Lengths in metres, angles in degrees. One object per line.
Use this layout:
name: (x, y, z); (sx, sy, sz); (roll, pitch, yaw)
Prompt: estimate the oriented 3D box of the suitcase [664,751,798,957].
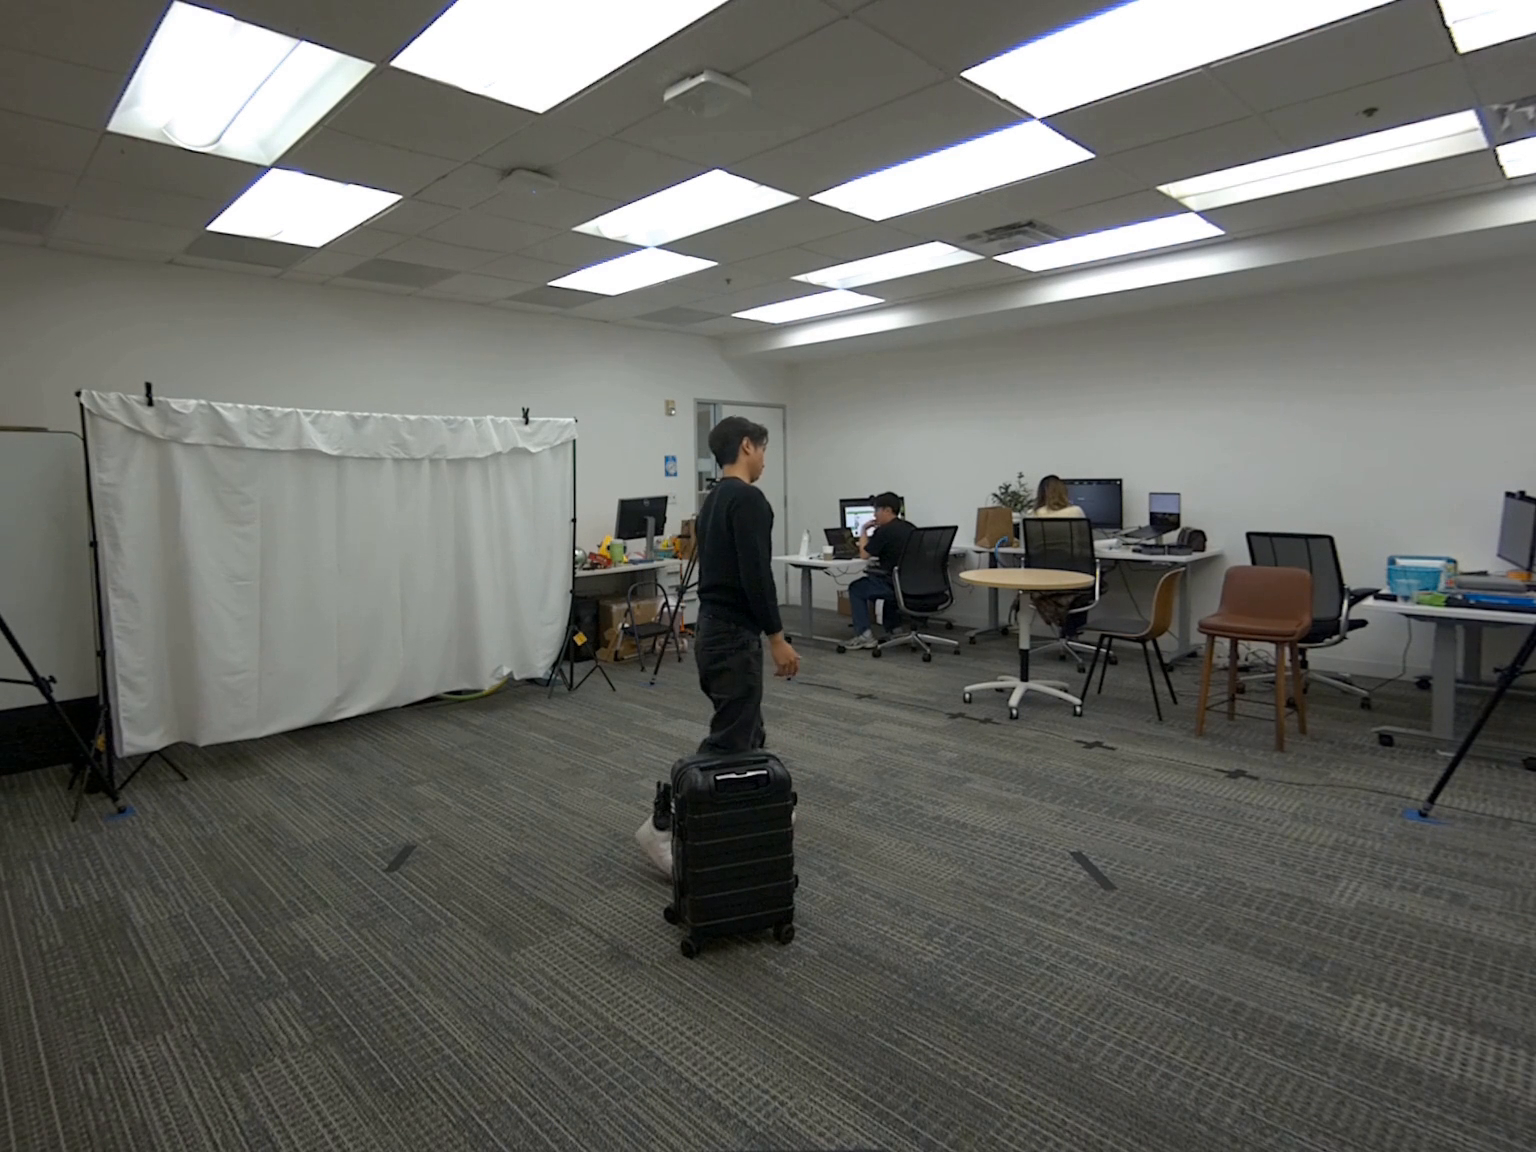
suitcase: (-0.115, 0.824, 2.631); (0.369, 0.548, 0.253); (-2, 4, -19)
